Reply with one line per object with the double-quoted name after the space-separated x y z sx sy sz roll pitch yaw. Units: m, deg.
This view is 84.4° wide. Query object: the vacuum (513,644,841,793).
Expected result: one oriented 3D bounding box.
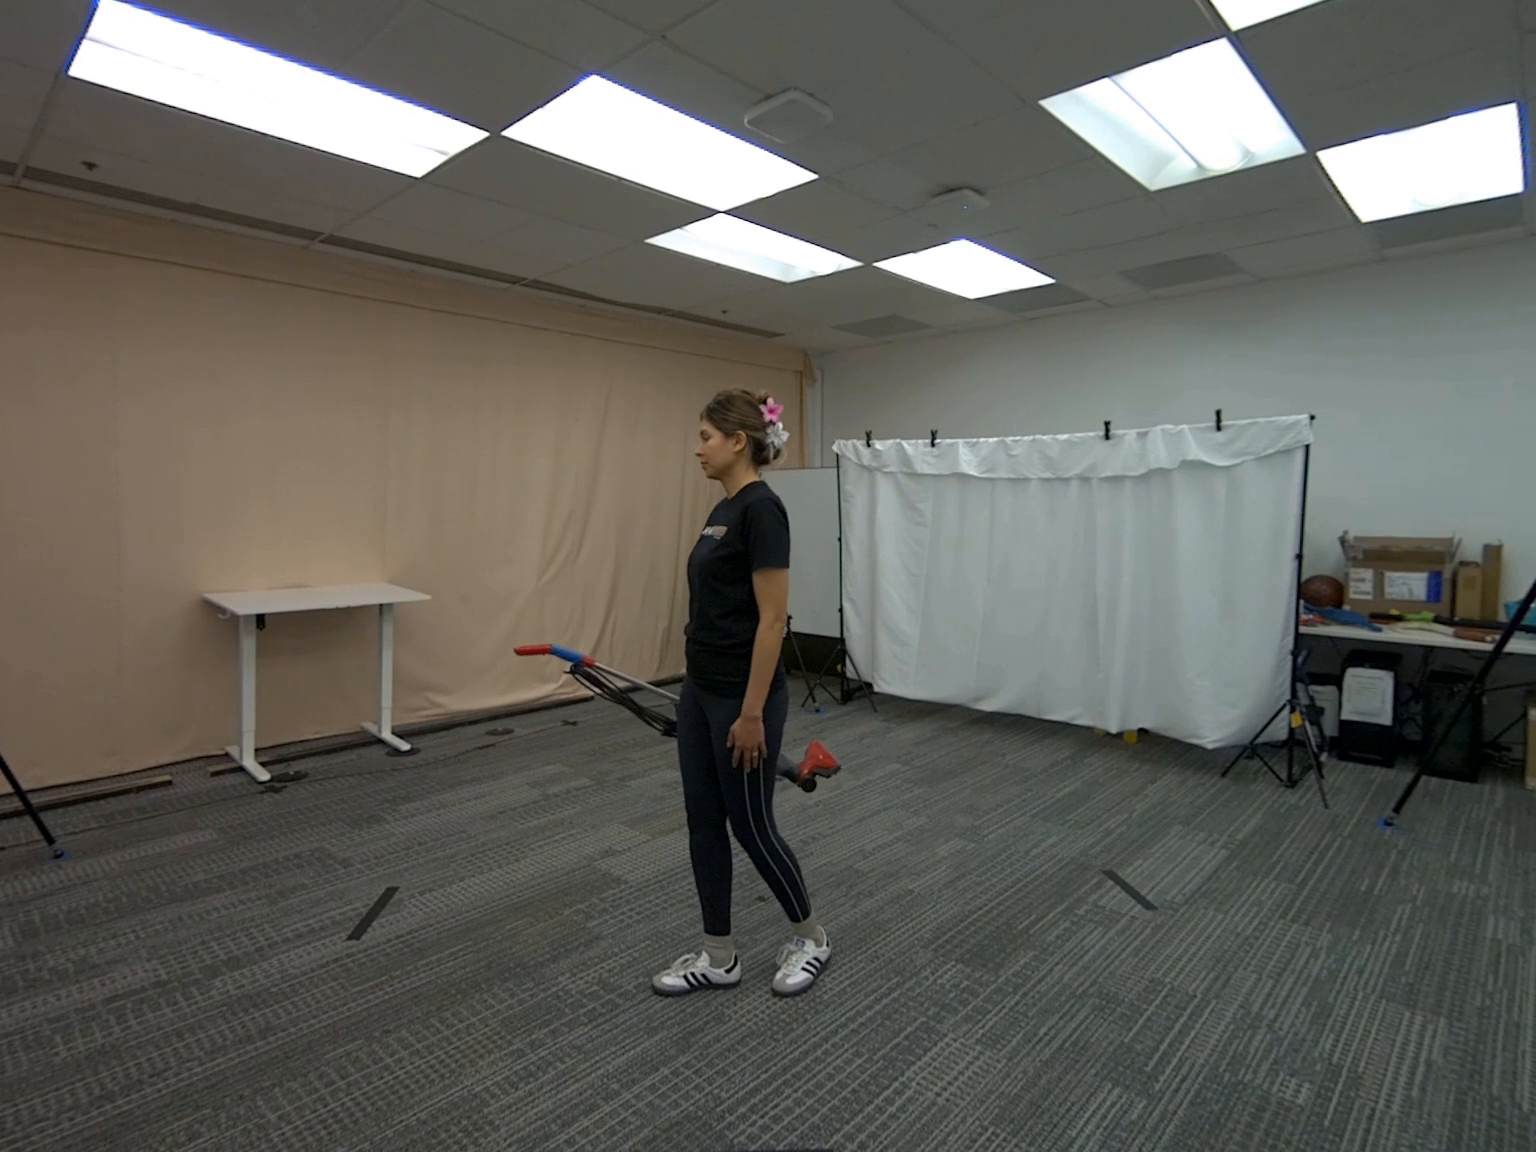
-0.293 0.438 2.649 1.034 0.144 0.256 25 0 -12 "vacuum"
